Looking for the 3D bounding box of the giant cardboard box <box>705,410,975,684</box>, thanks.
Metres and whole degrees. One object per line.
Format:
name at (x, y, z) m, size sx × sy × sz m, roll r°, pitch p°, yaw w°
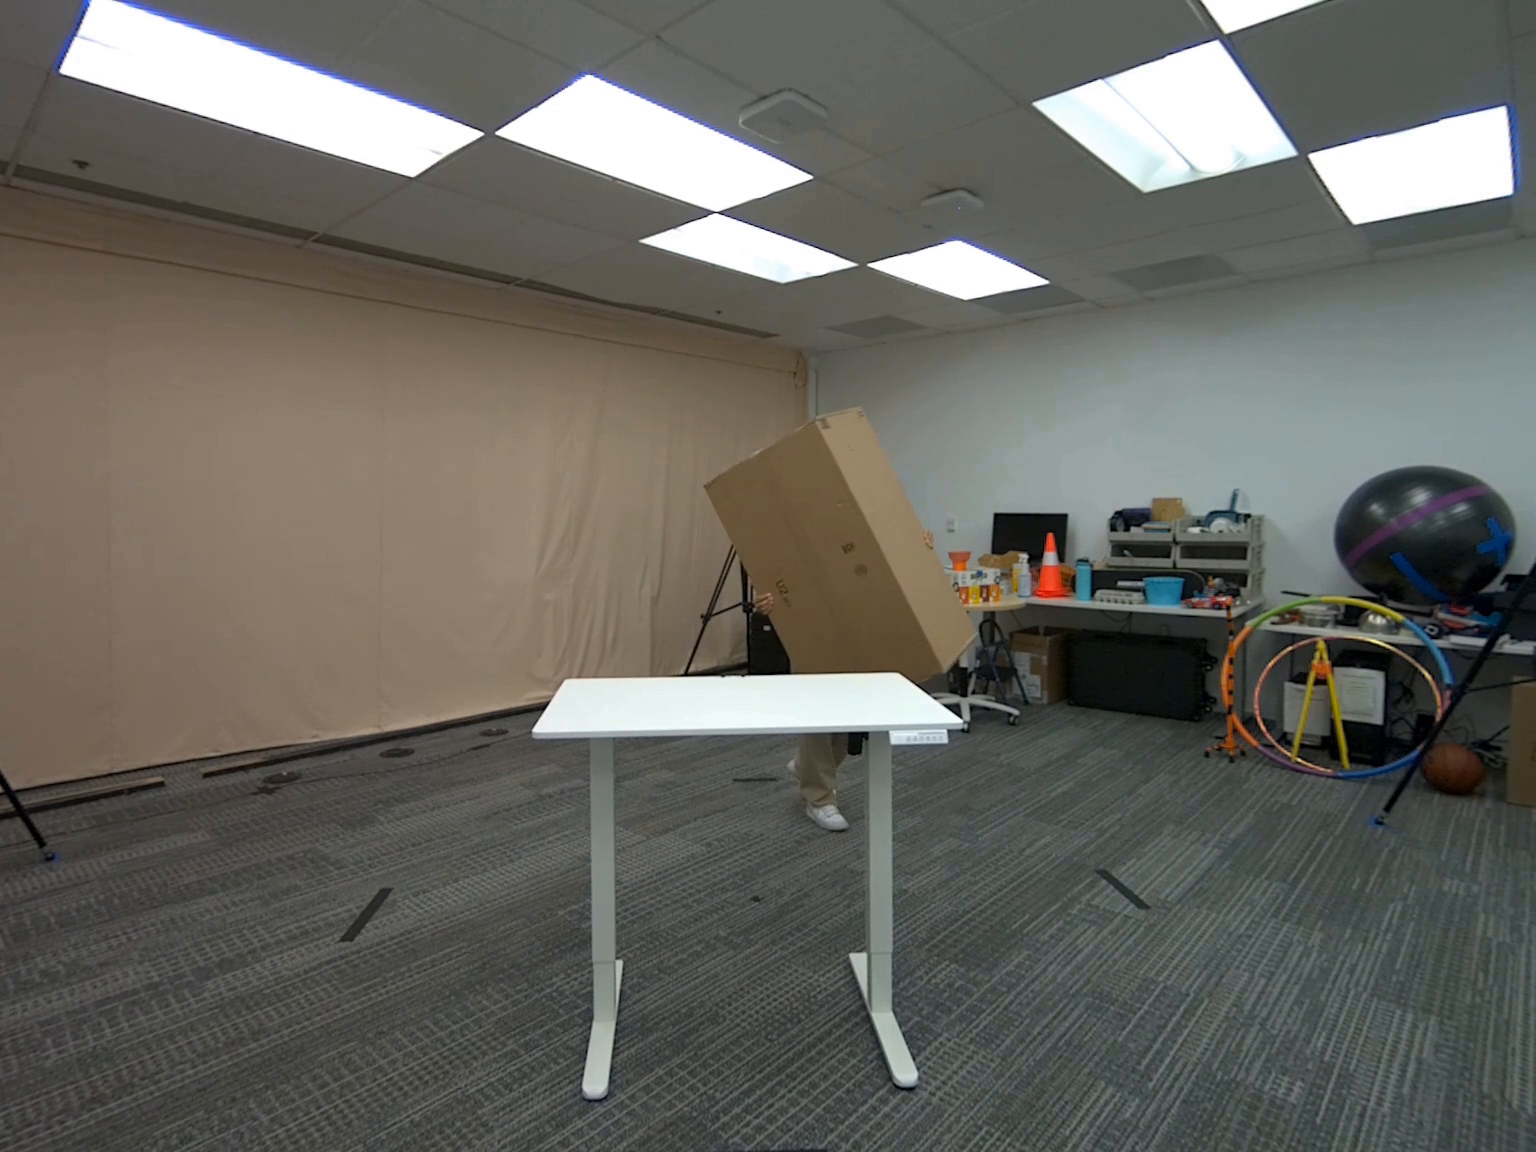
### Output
giant cardboard box at (0.297, -0.059, 3.337) m, size 0.588 × 1.028 × 0.417 m, roll -28°, pitch -2°, yaw 35°
